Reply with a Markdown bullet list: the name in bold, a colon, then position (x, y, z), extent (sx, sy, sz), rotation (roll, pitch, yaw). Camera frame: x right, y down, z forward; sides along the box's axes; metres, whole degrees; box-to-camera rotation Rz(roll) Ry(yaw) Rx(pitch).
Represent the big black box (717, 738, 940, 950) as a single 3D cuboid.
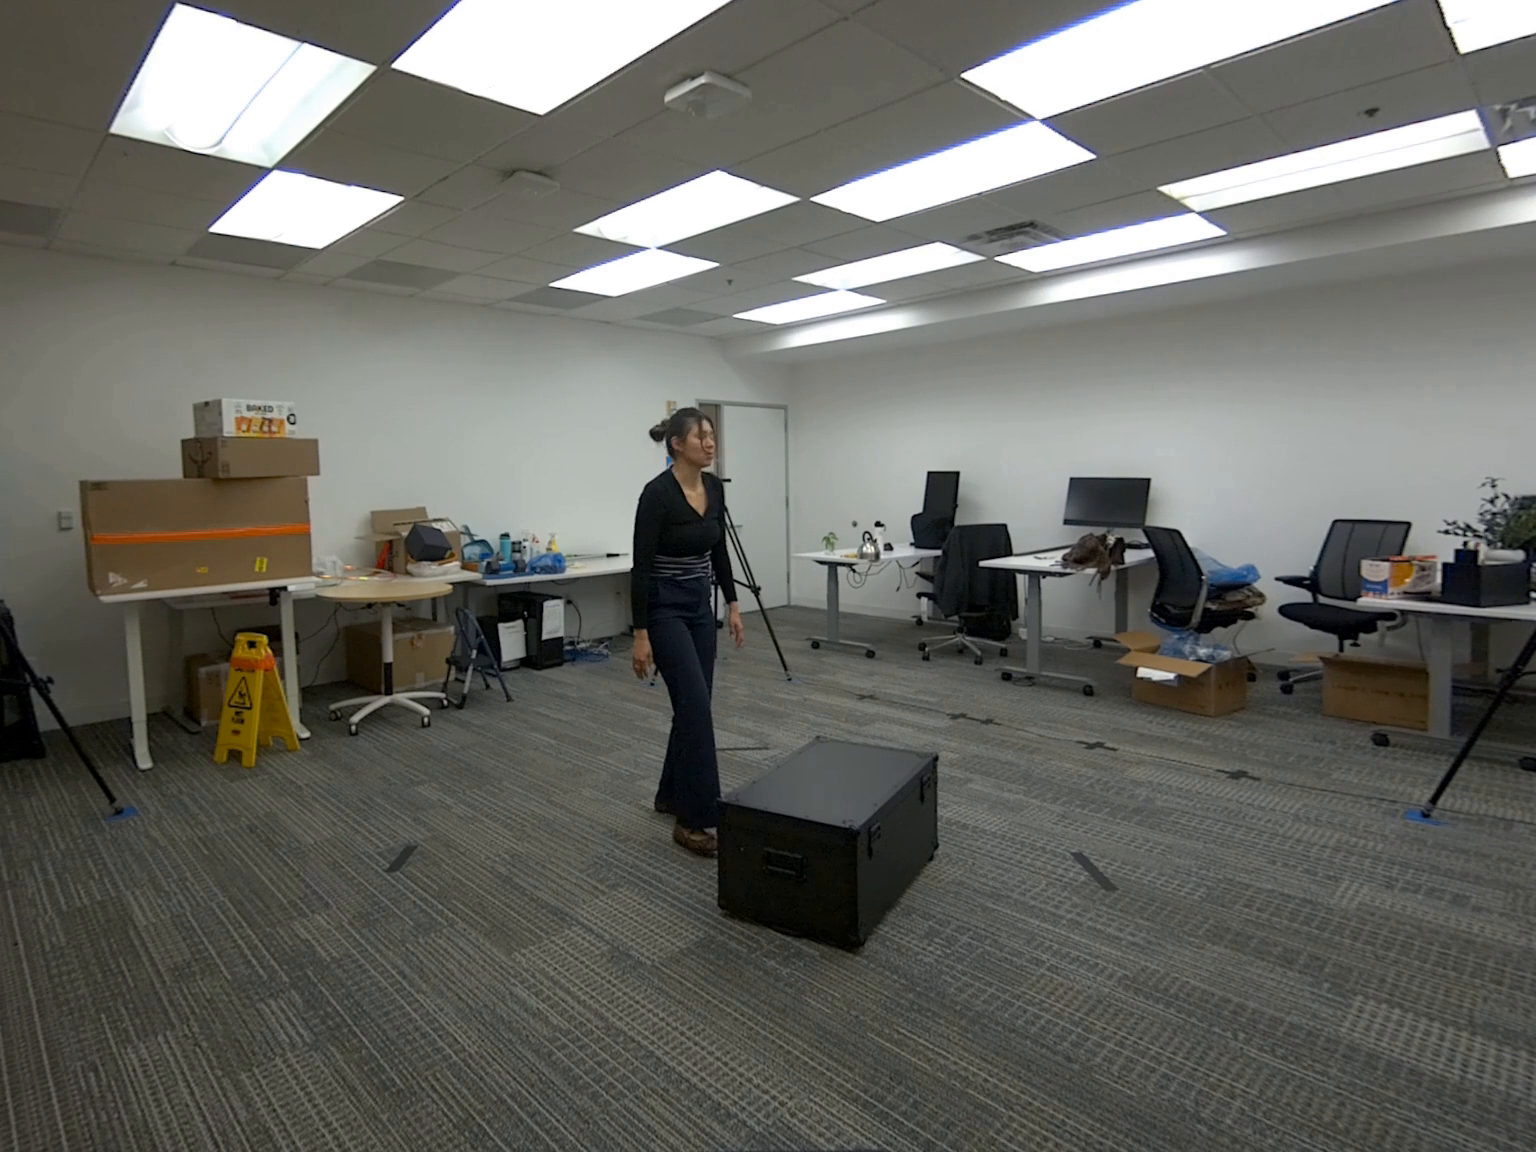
- **big black box**: position (0.249, 0.865, 2.957), extent (0.535, 0.394, 0.843), rotation (1, 7, 29)
